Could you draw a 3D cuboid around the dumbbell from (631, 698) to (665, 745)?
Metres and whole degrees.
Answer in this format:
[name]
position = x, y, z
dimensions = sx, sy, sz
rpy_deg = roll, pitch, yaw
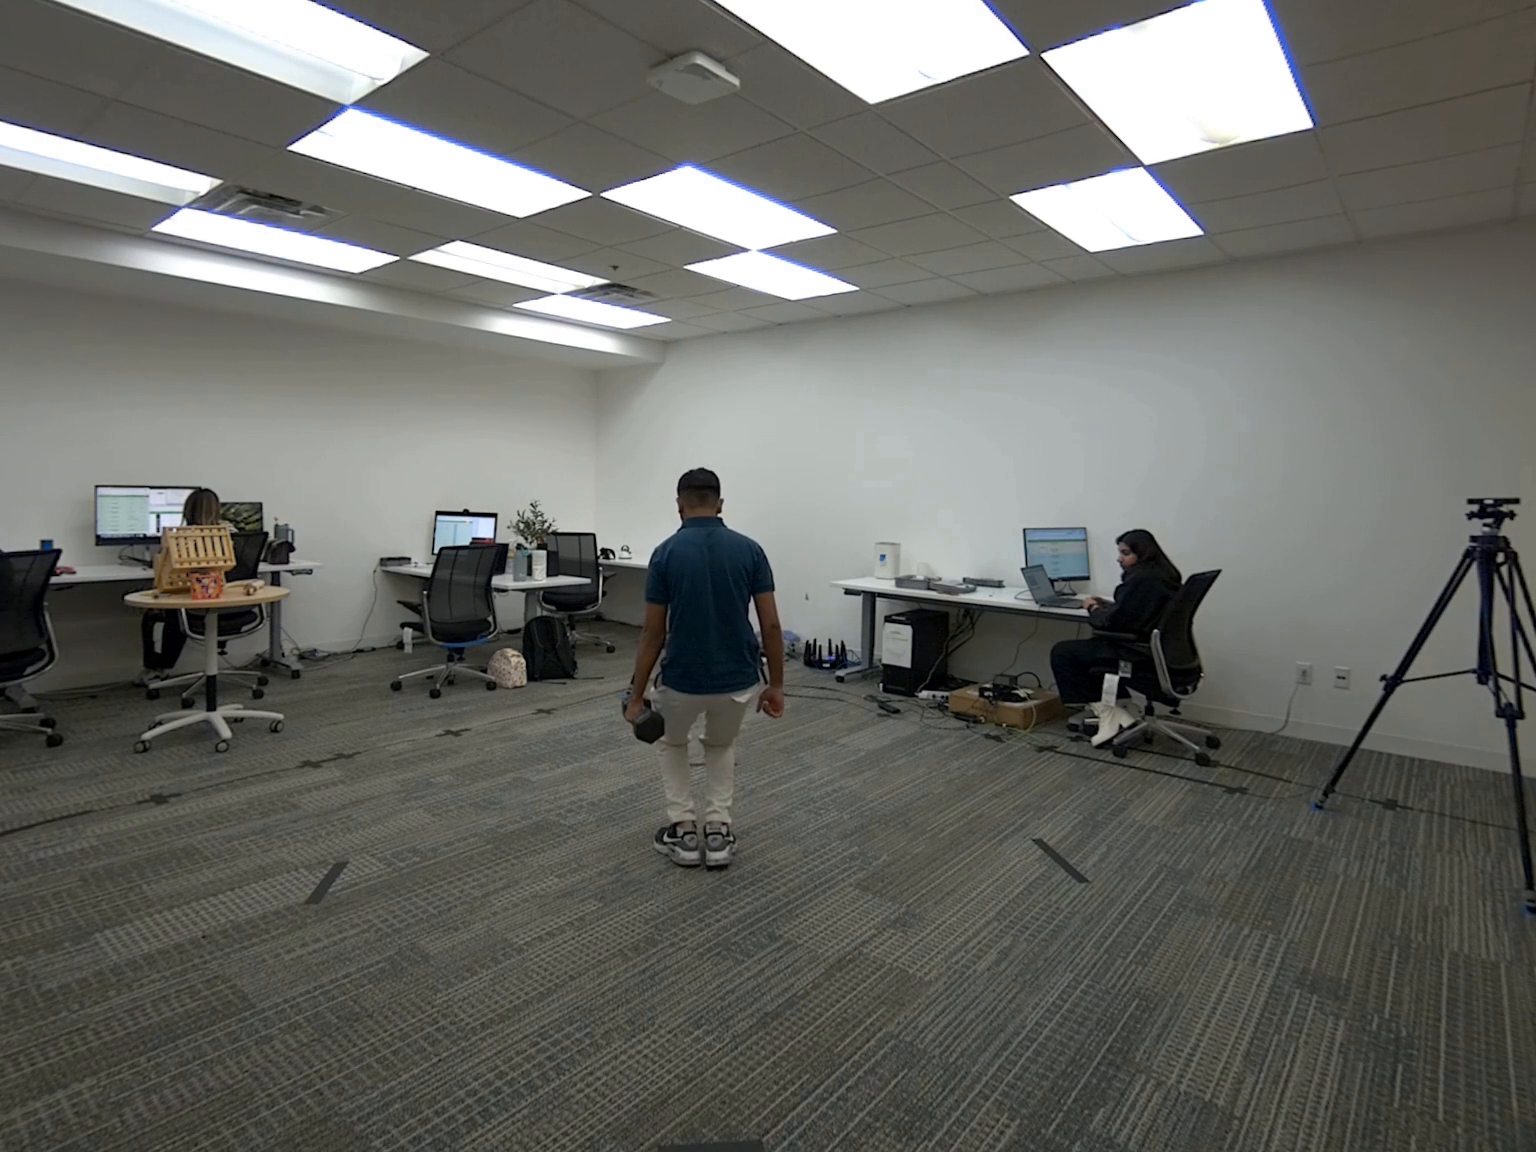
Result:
[dumbbell]
position = -0.490, 0.533, 3.257
dimensions = 0.107, 0.122, 0.301
rpy_deg = -4, 10, -20
